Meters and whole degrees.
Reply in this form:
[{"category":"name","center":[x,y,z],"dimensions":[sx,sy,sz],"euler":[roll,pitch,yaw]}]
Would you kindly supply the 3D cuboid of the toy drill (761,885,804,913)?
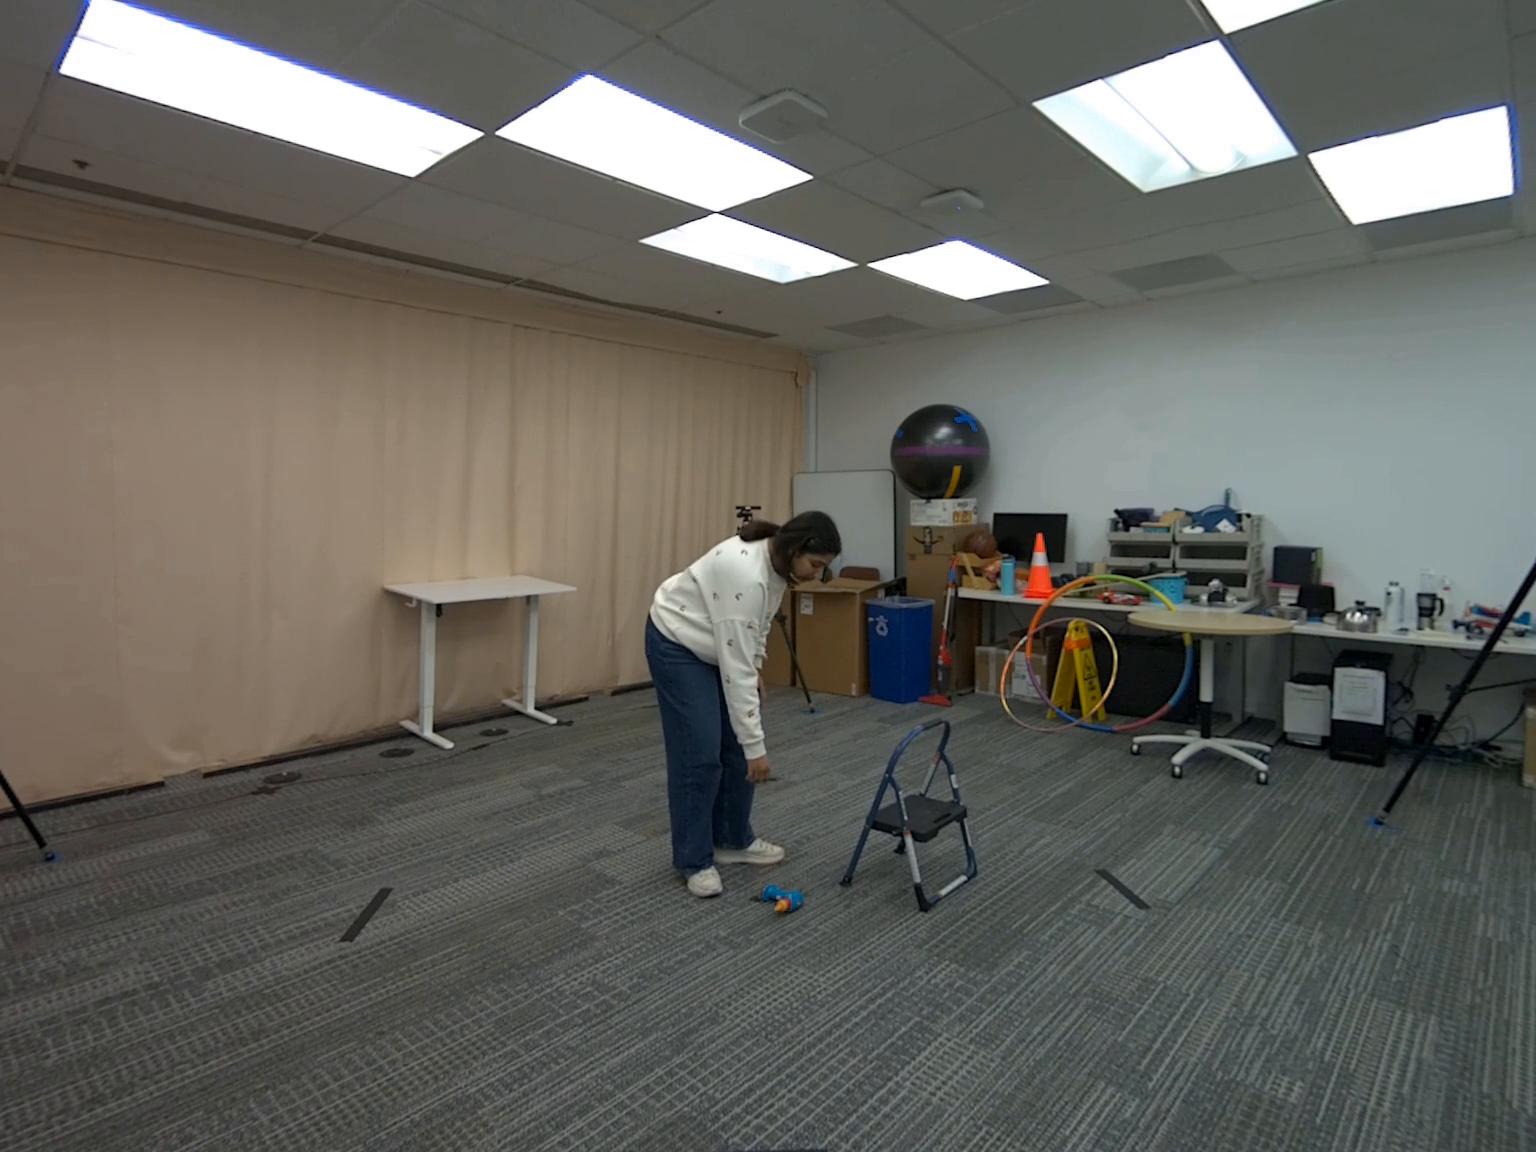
[{"category":"toy drill","center":[0.040,1.123,2.912],"dimensions":[0.150,0.061,0.164],"euler":[2,-1,33]}]
